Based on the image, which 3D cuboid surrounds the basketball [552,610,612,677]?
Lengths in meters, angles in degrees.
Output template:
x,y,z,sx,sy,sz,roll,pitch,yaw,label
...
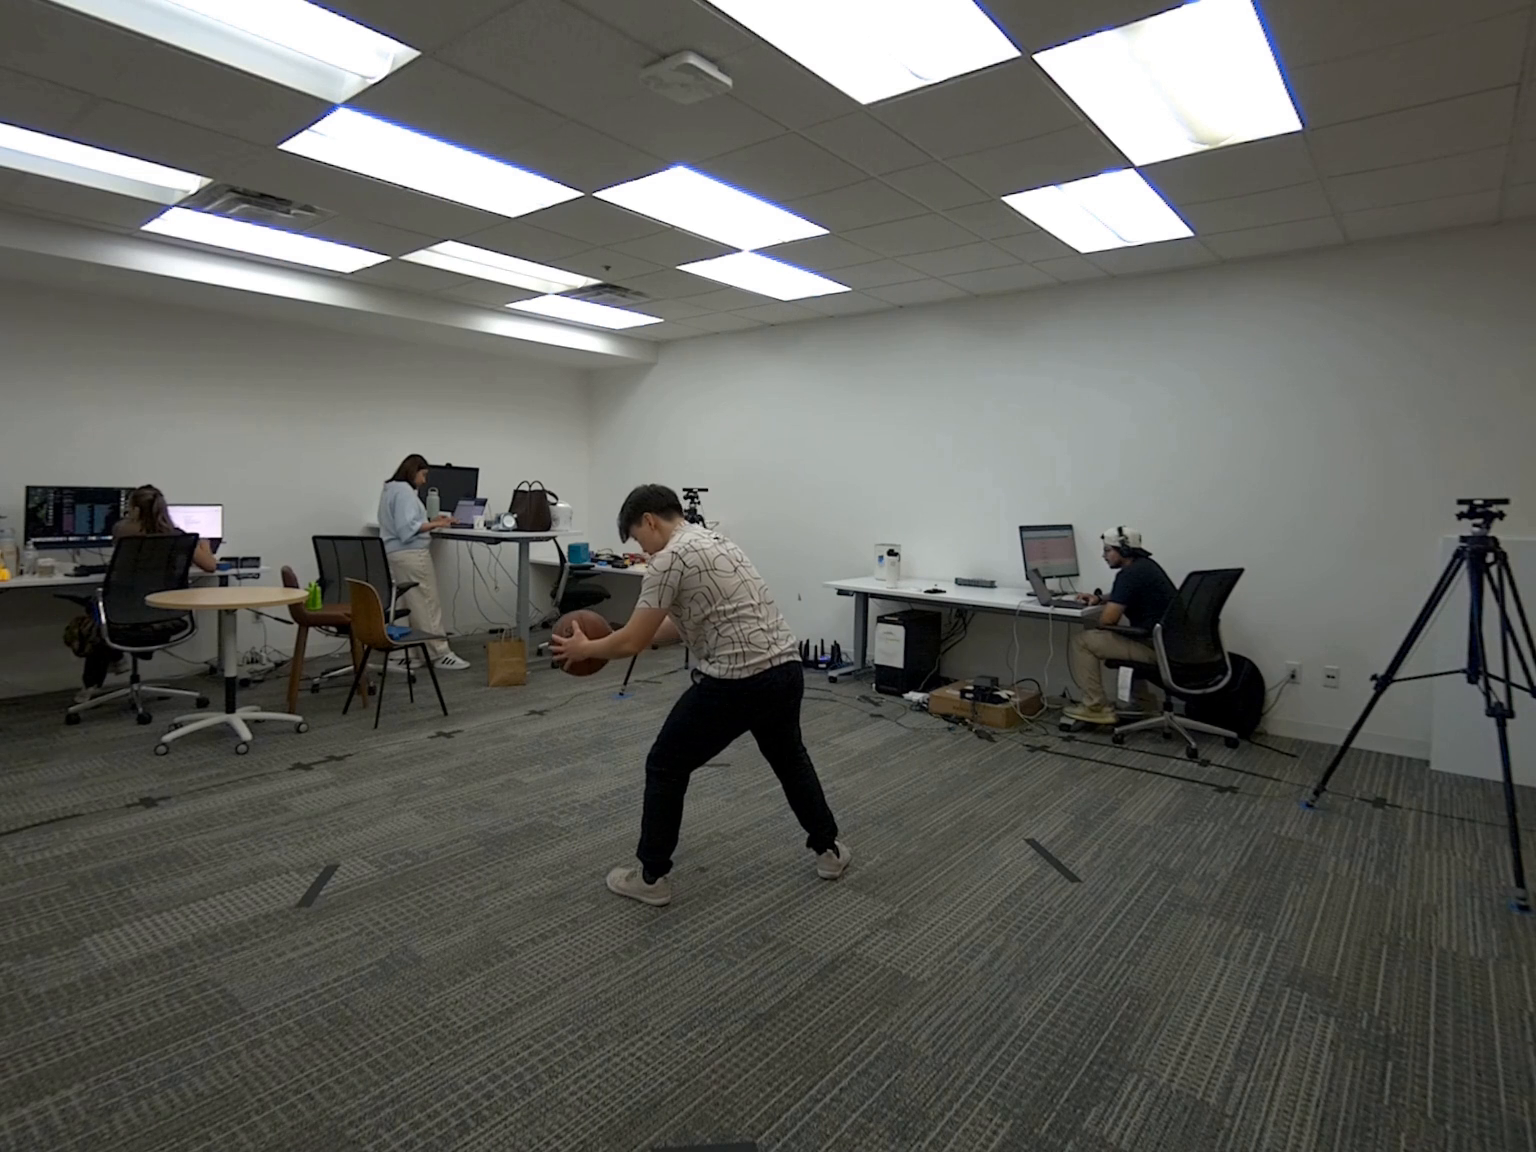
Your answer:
x,y,z,sx,sy,sz,roll,pitch,yaw,label
-0.683,0.241,3.107,0.235,0.235,0.237,1,4,-2,basketball
